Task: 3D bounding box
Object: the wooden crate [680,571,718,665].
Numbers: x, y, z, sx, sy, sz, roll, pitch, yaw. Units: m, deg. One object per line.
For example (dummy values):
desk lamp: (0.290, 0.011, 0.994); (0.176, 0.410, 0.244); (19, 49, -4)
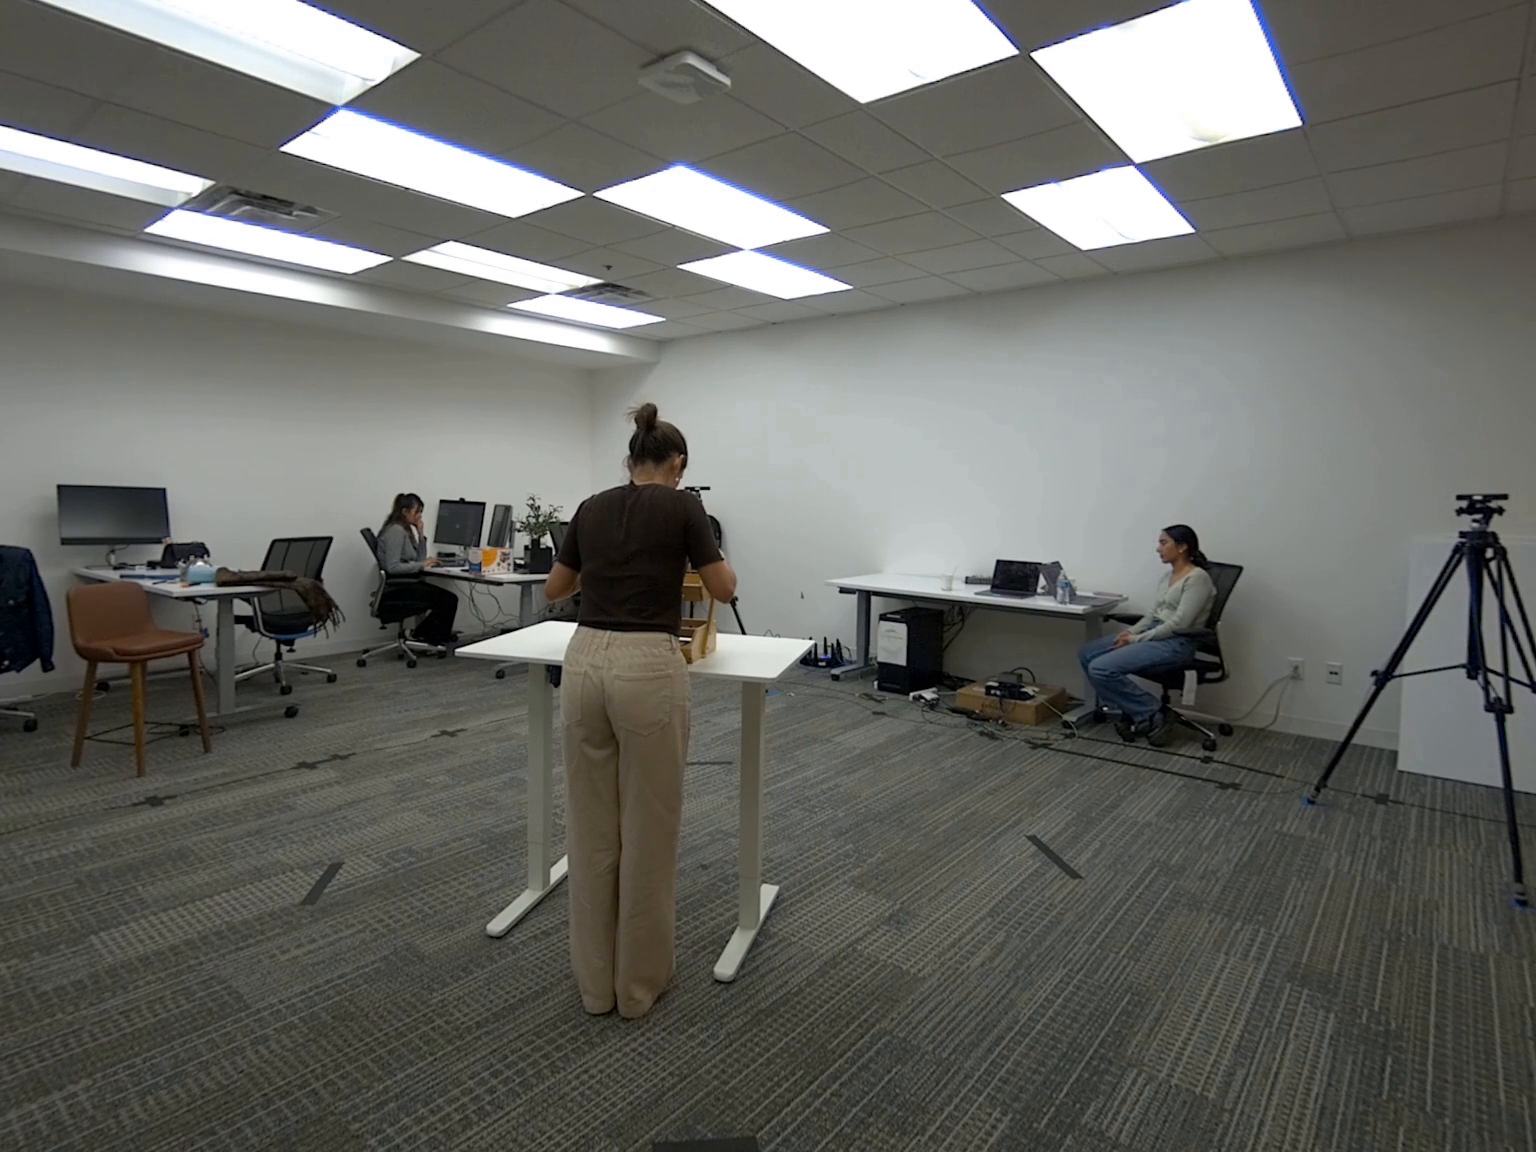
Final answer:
wooden crate: (-0.337, 0.102, 2.613); (0.330, 0.272, 0.298); (2, 5, 15)
